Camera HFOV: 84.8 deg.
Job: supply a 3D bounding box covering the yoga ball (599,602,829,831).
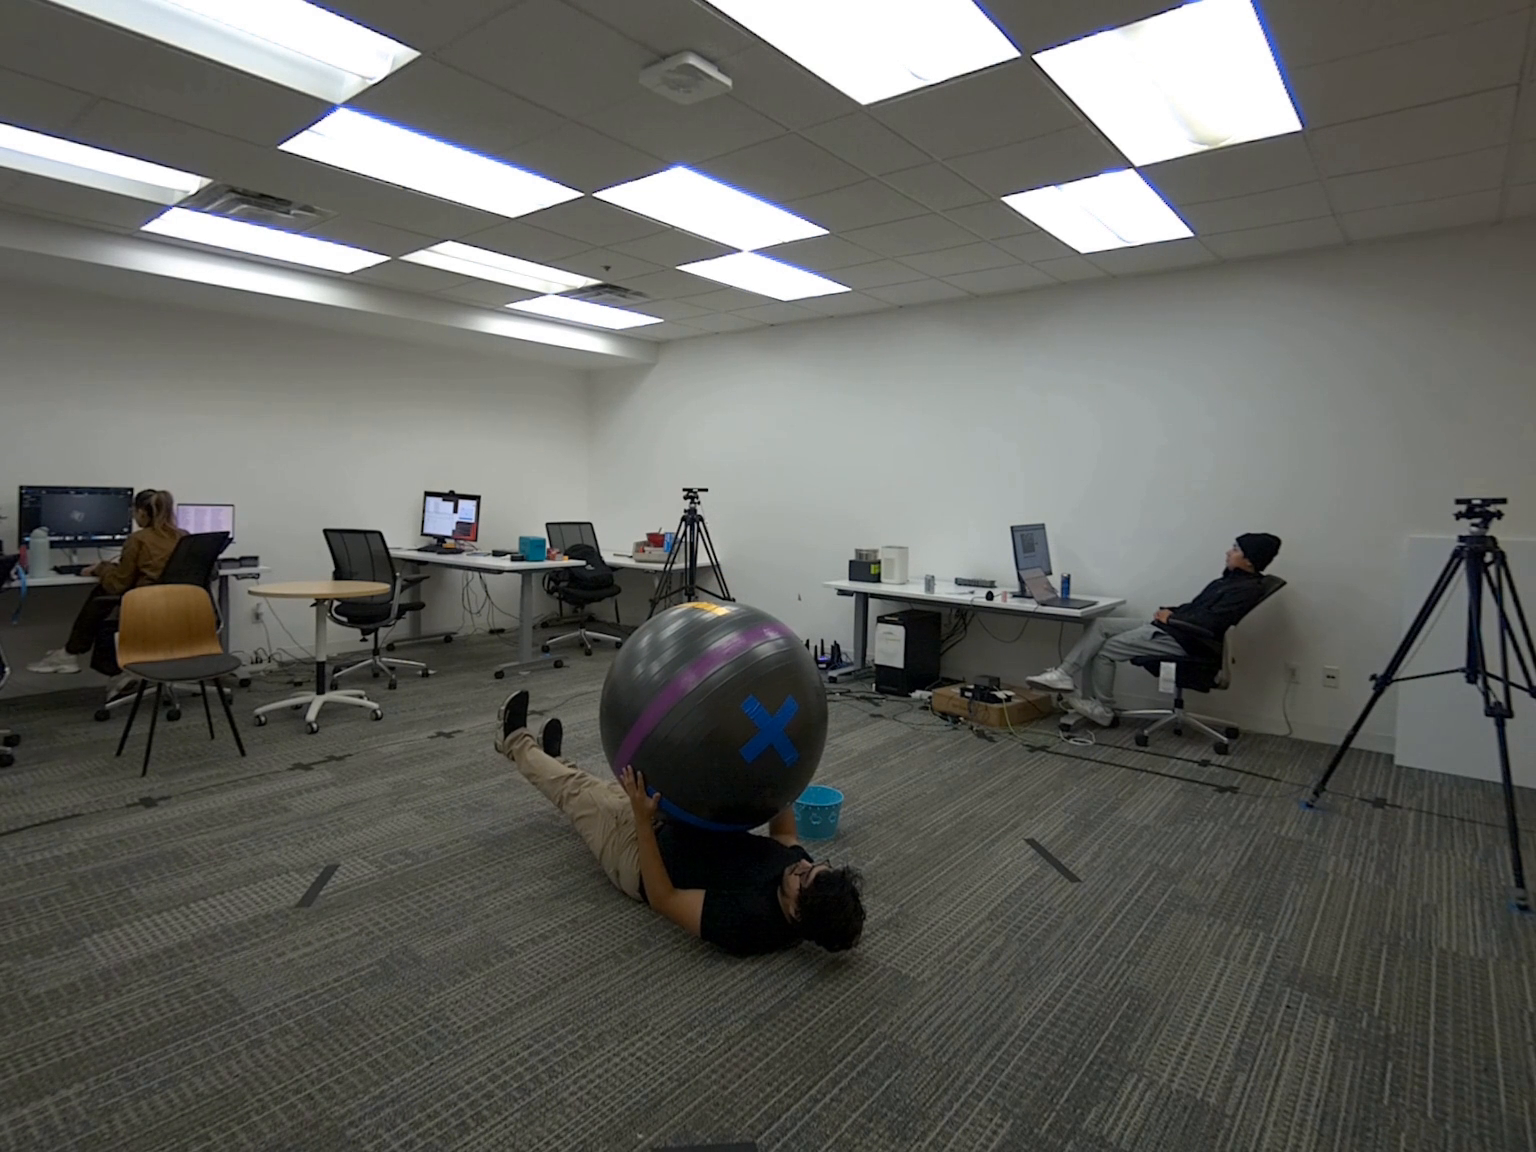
[{"bbox_3d":[-0.190,0.462,2.826,0.757,0.756,0.761,0,4,-2],"label":"yoga ball"}]
